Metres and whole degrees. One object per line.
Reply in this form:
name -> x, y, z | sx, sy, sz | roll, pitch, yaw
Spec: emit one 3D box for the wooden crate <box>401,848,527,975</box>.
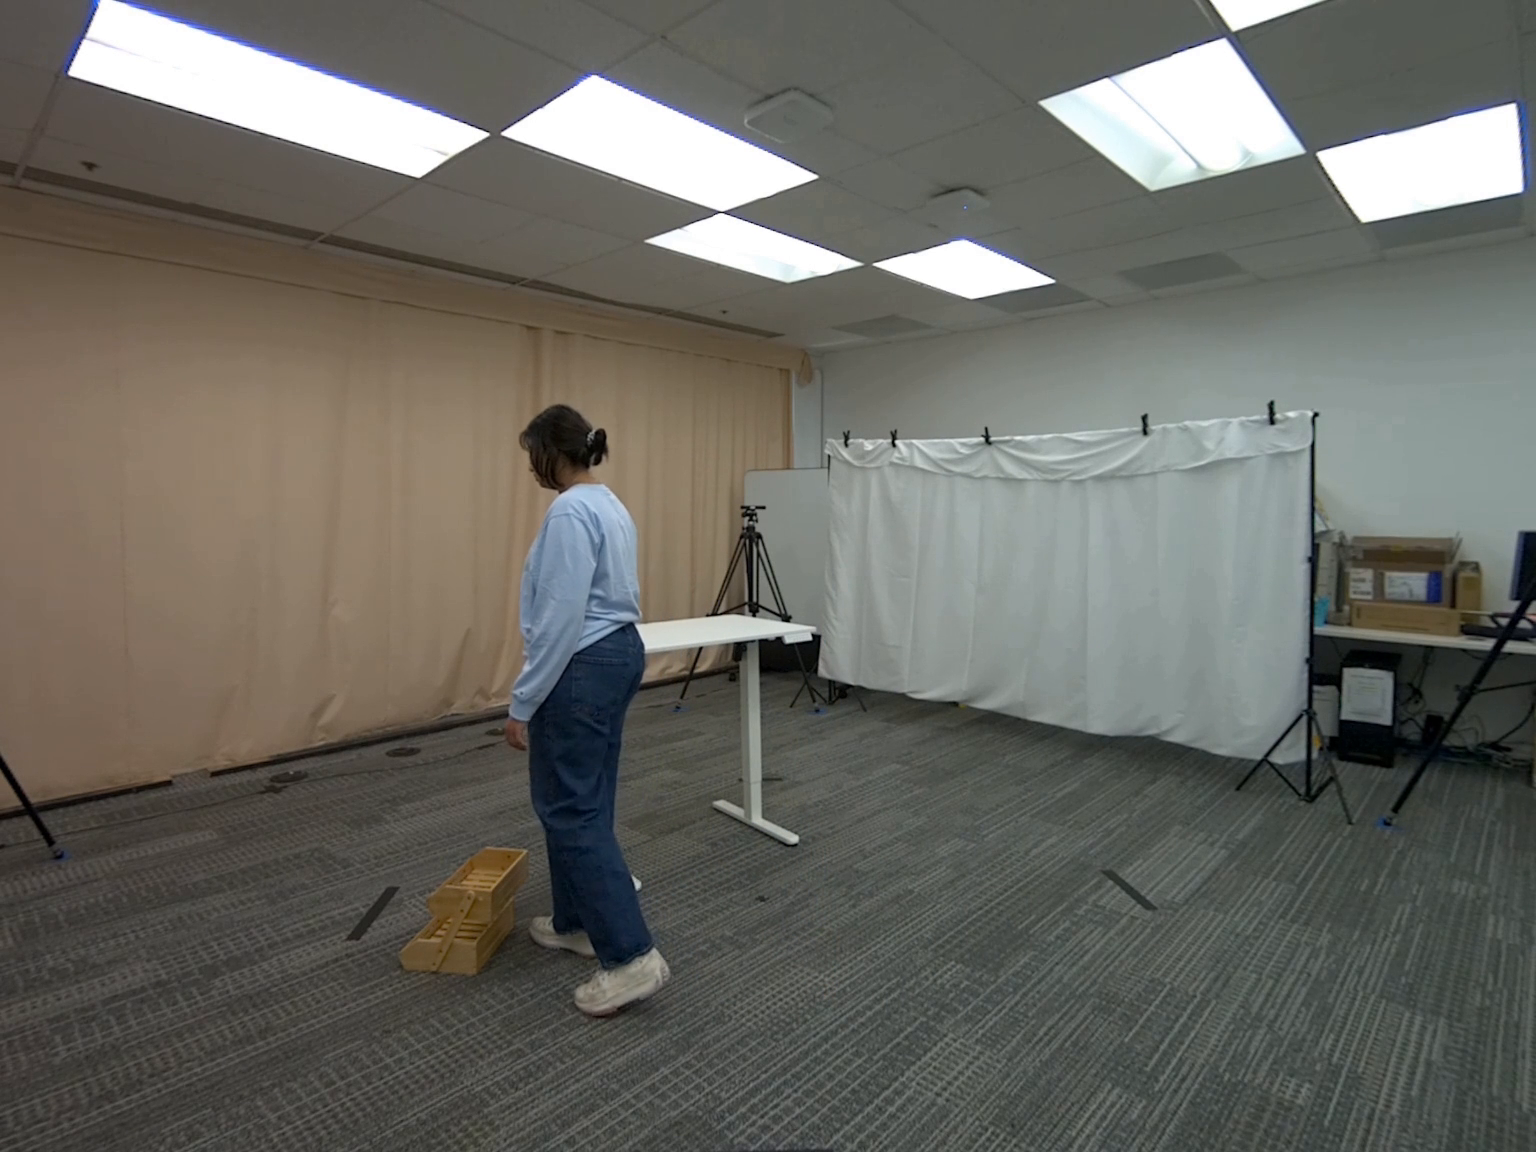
wooden crate -> -0.968, 1.051, 2.659 | 0.304, 0.273, 0.322 | 1, 3, 6
